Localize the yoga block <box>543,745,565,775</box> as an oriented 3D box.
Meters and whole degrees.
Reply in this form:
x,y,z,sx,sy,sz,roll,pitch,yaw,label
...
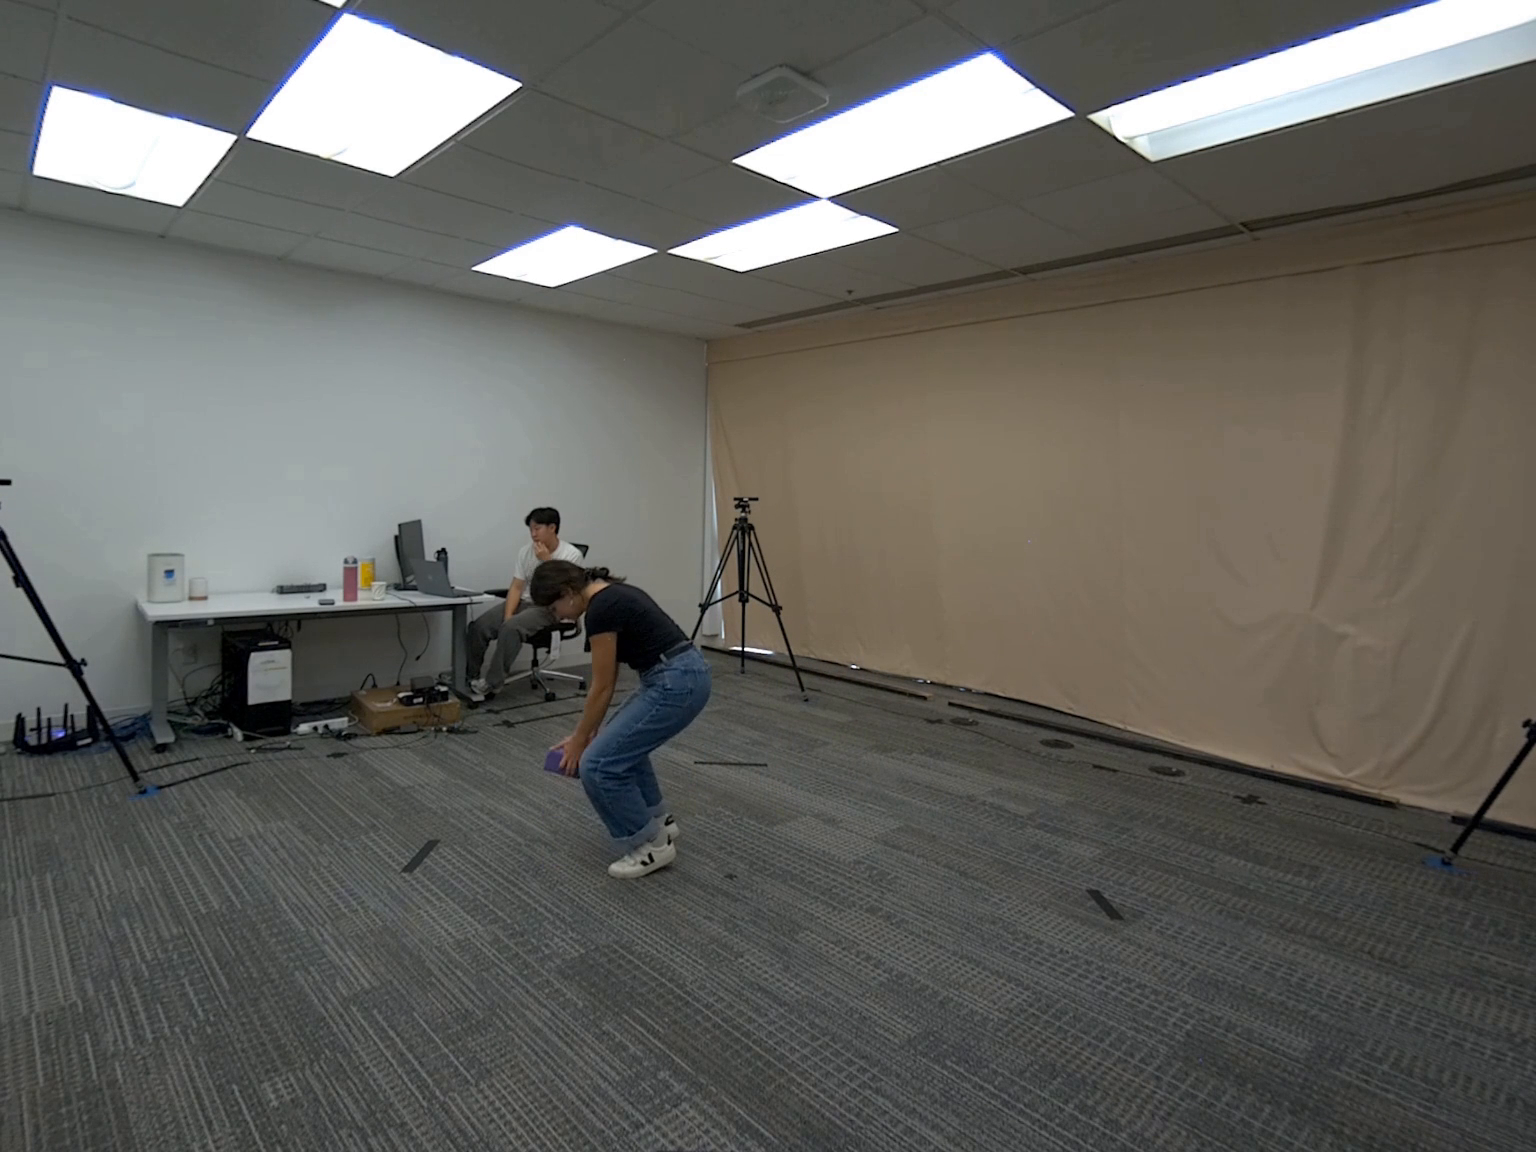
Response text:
x,y,z,sx,sy,sz,roll,pitch,yaw,label
-0.759,0.714,3.259,0.149,0.076,0.229,14,3,3,yoga block
